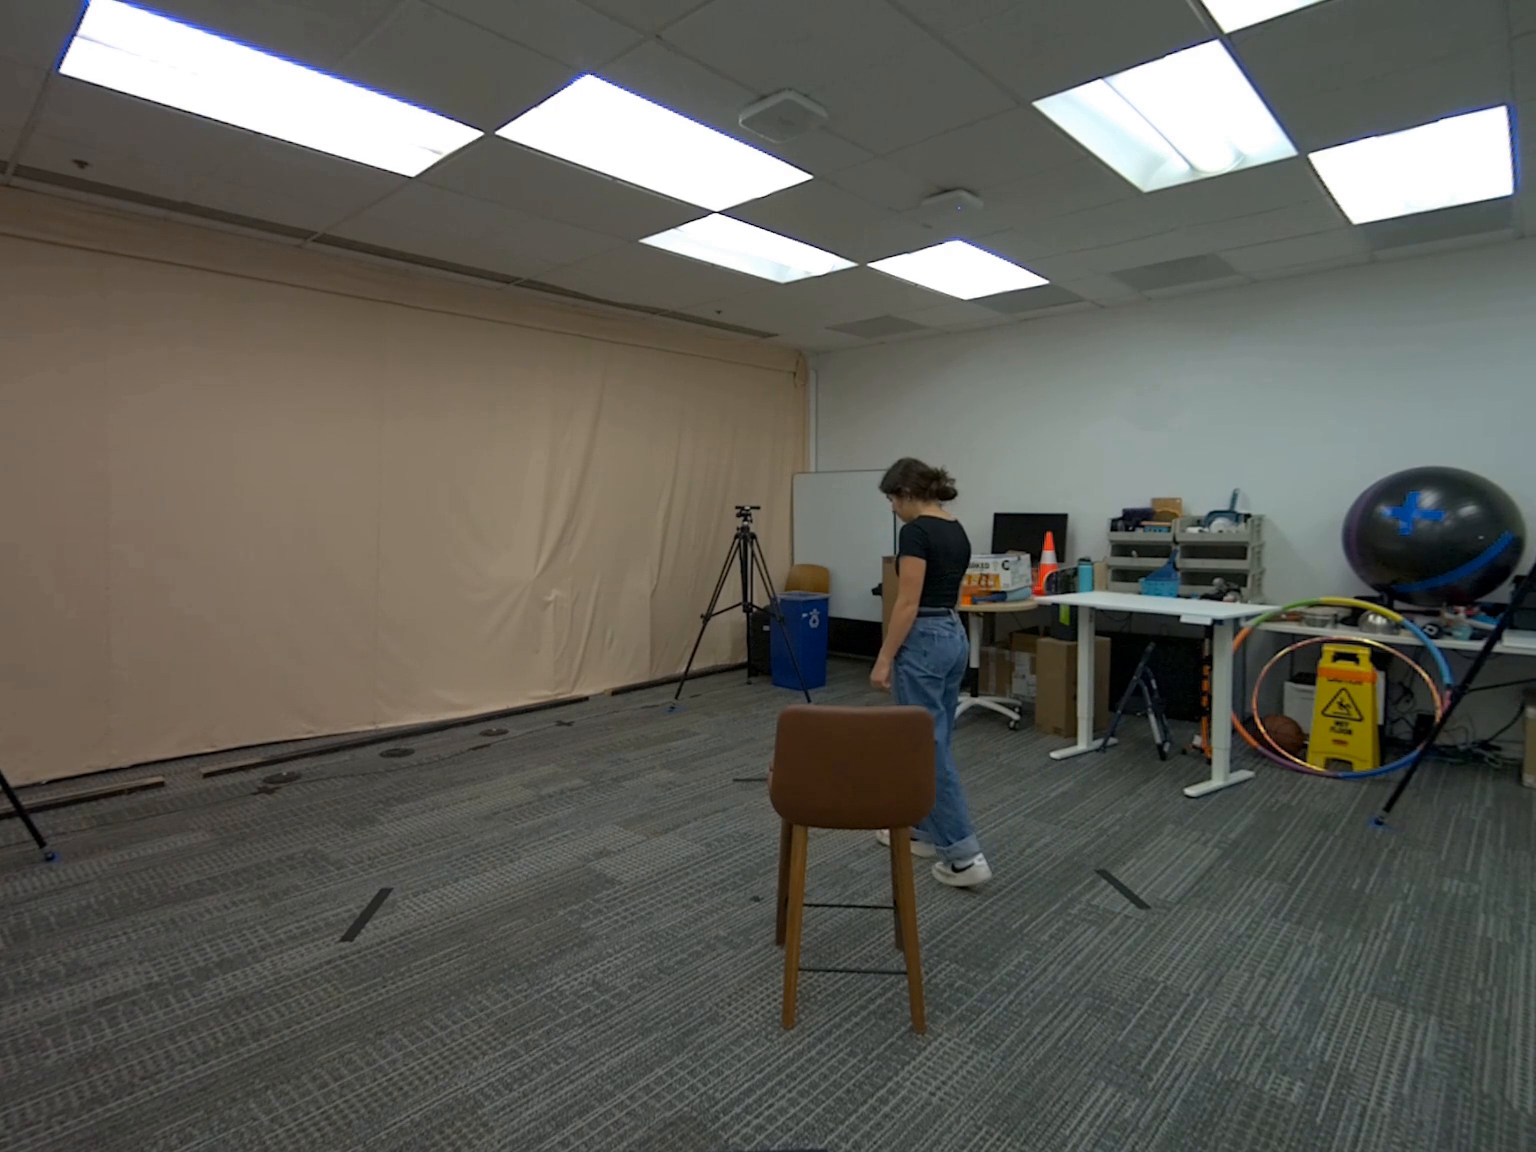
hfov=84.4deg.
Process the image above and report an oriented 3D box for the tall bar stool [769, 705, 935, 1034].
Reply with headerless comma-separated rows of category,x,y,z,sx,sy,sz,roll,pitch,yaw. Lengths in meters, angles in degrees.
tall bar stool,0.231,0.755,2.424,0.458,0.887,0.467,0,5,2
